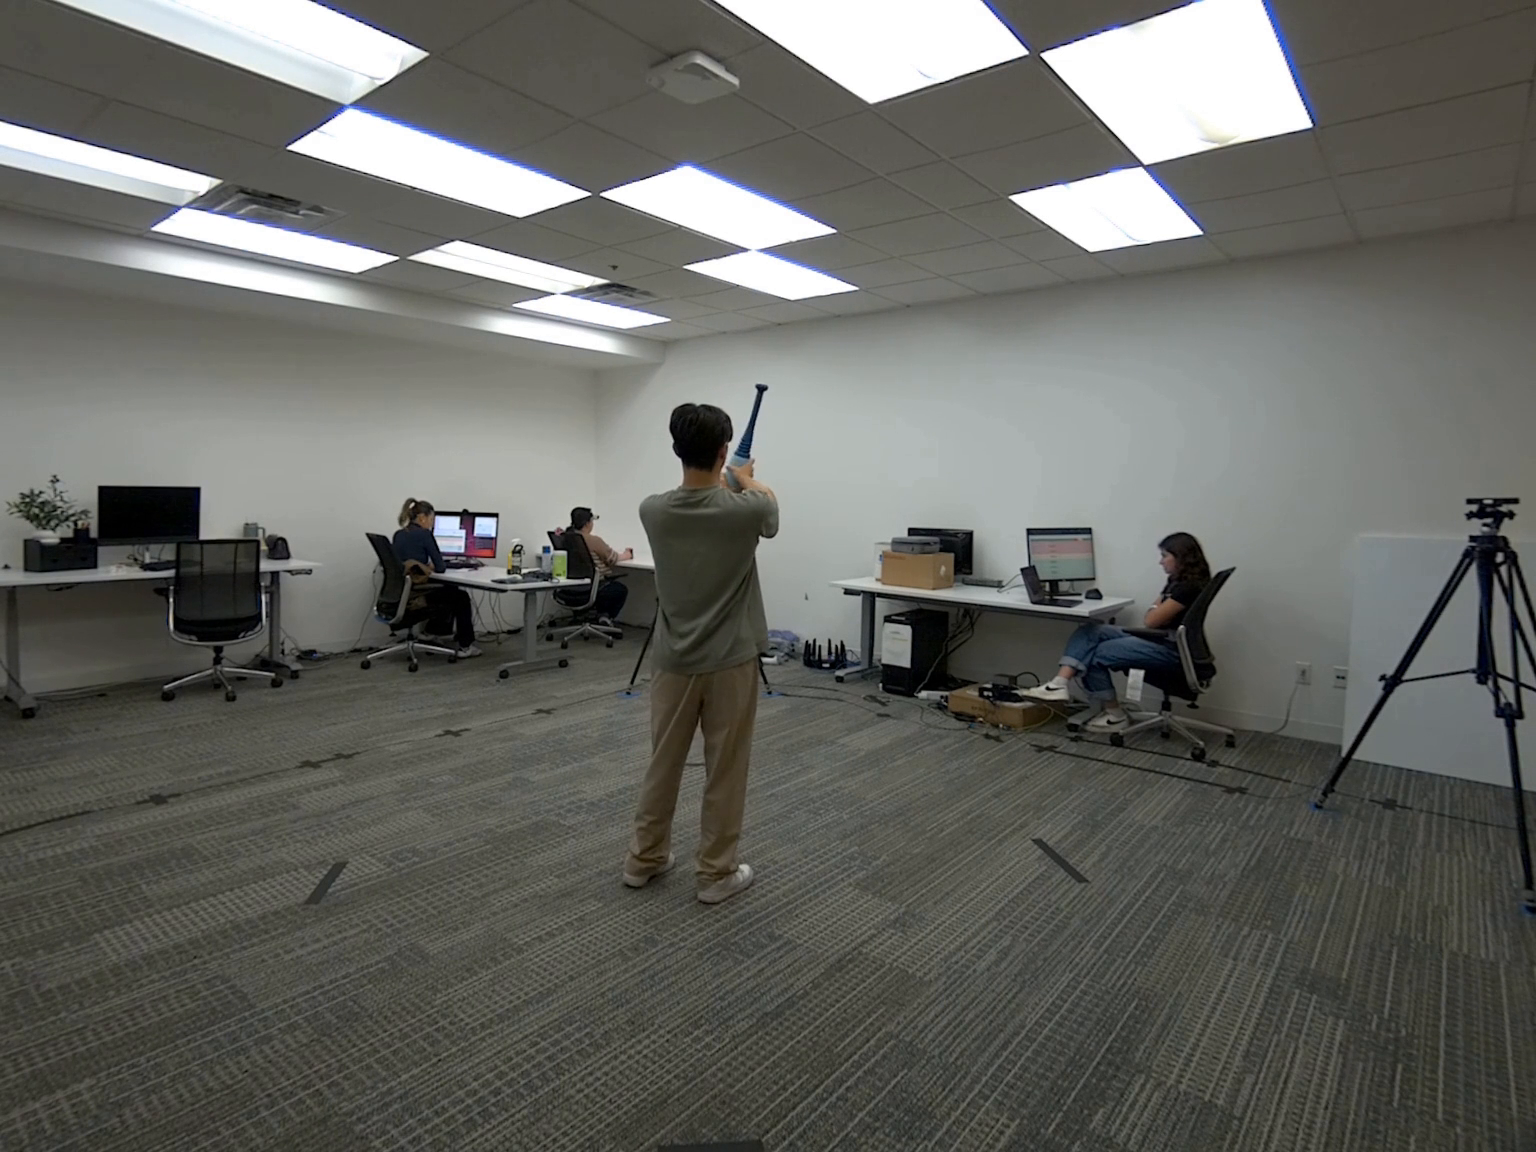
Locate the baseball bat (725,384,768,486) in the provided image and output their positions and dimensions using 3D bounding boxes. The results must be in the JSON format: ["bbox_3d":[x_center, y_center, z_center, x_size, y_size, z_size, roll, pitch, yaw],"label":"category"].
[{"bbox_3d":[-0.110,-0.493,3.349,0.088,0.538,0.090,15,13,-6],"label":"baseball bat"}]
